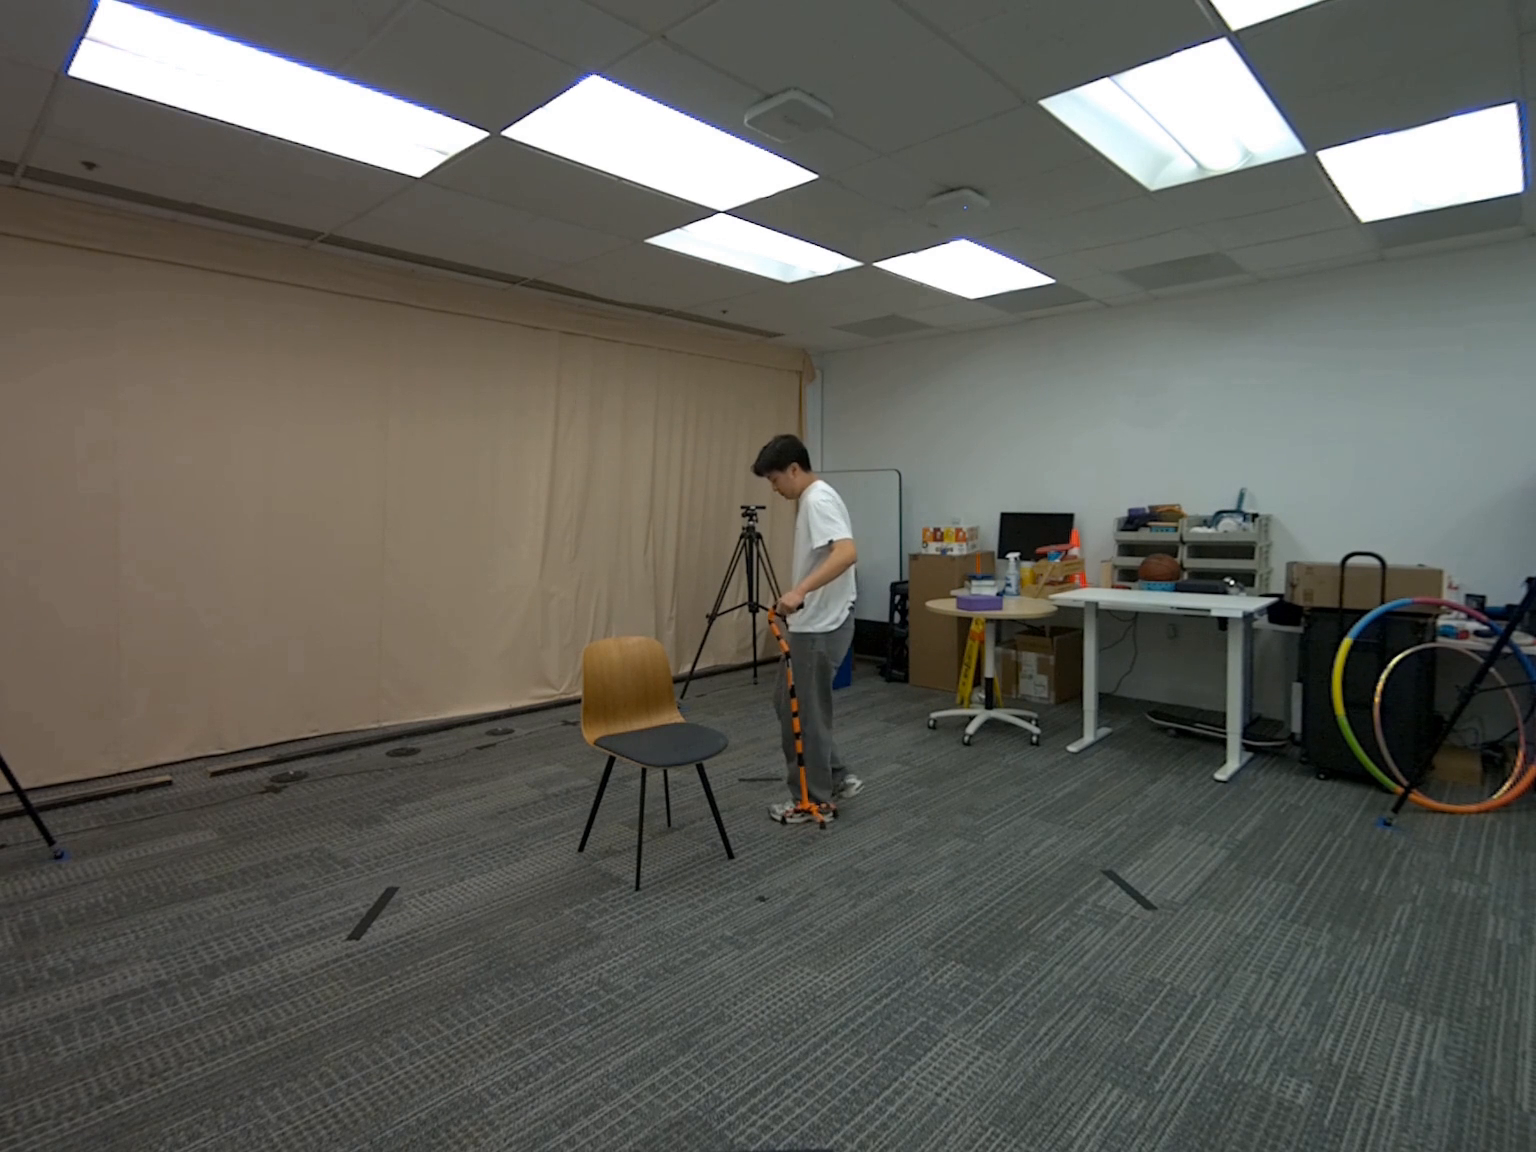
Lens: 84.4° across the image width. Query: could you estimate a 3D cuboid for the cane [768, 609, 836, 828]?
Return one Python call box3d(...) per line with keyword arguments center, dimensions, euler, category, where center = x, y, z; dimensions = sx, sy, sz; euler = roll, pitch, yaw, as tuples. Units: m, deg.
box3d(center=(0.123, 0.563, 3.419), dimensions=(0.212, 0.904, 0.148), euler=(-2, 6, 34), category="cane")
